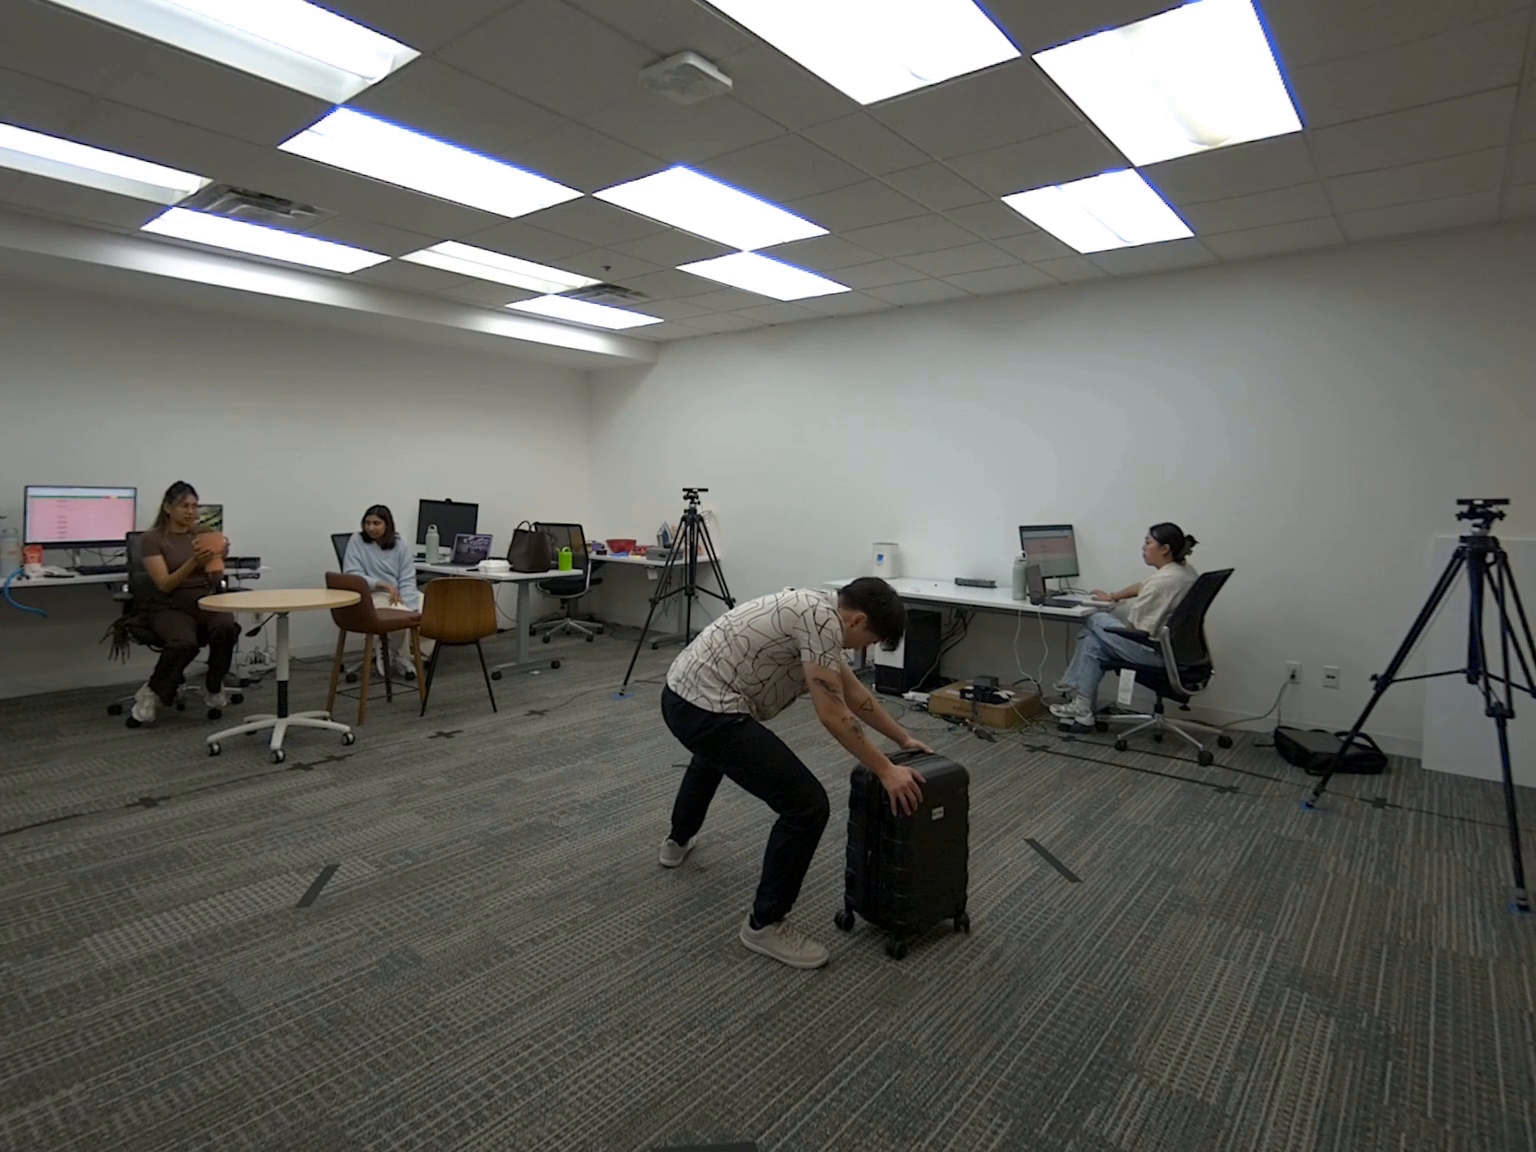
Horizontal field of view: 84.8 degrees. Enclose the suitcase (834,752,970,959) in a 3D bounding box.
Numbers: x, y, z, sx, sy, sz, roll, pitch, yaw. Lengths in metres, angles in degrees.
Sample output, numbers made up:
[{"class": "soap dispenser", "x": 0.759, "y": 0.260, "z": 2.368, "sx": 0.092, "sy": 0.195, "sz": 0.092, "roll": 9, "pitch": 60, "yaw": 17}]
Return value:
[{"class": "suitcase", "x": 0.443, "y": 0.852, "z": 2.724, "sx": 0.364, "sy": 0.549, "sz": 0.256, "roll": 0, "pitch": 2, "yaw": -39}]
